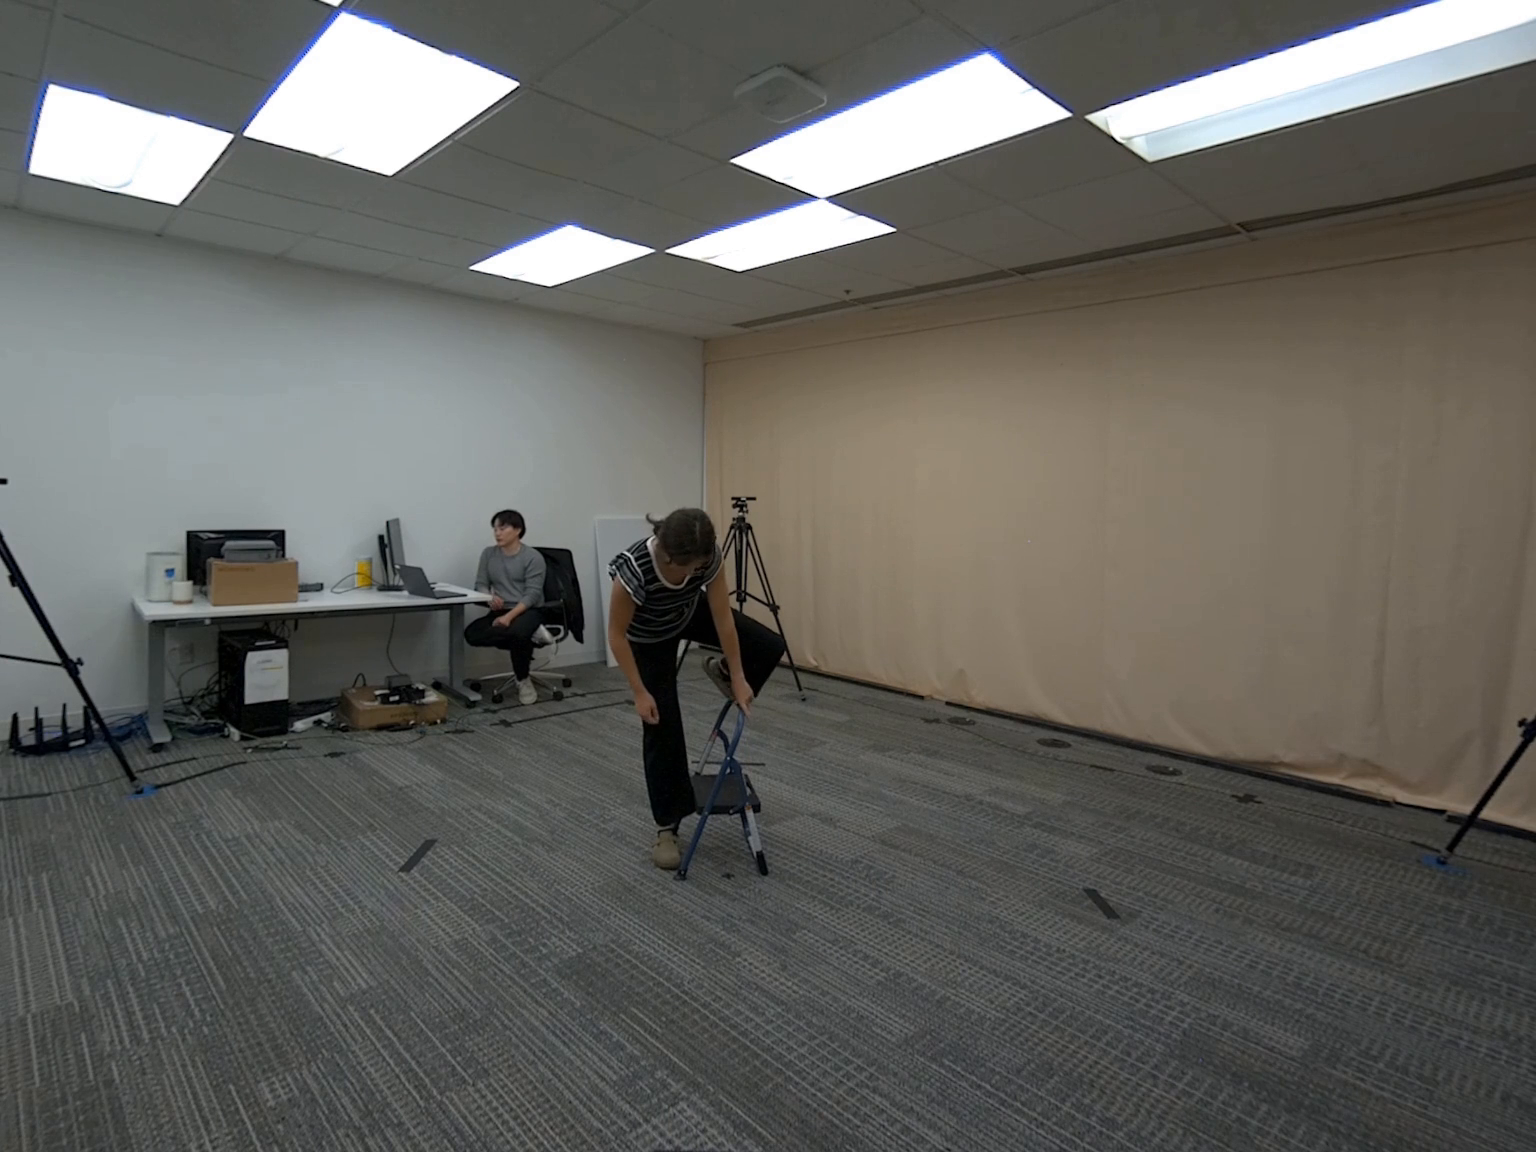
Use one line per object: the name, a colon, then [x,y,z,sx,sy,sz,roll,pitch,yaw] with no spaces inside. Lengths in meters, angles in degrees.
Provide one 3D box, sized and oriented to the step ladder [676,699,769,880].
step ladder: [-0.203,0.789,3.274,0.347,0.605,0.435,1,3,-10]
